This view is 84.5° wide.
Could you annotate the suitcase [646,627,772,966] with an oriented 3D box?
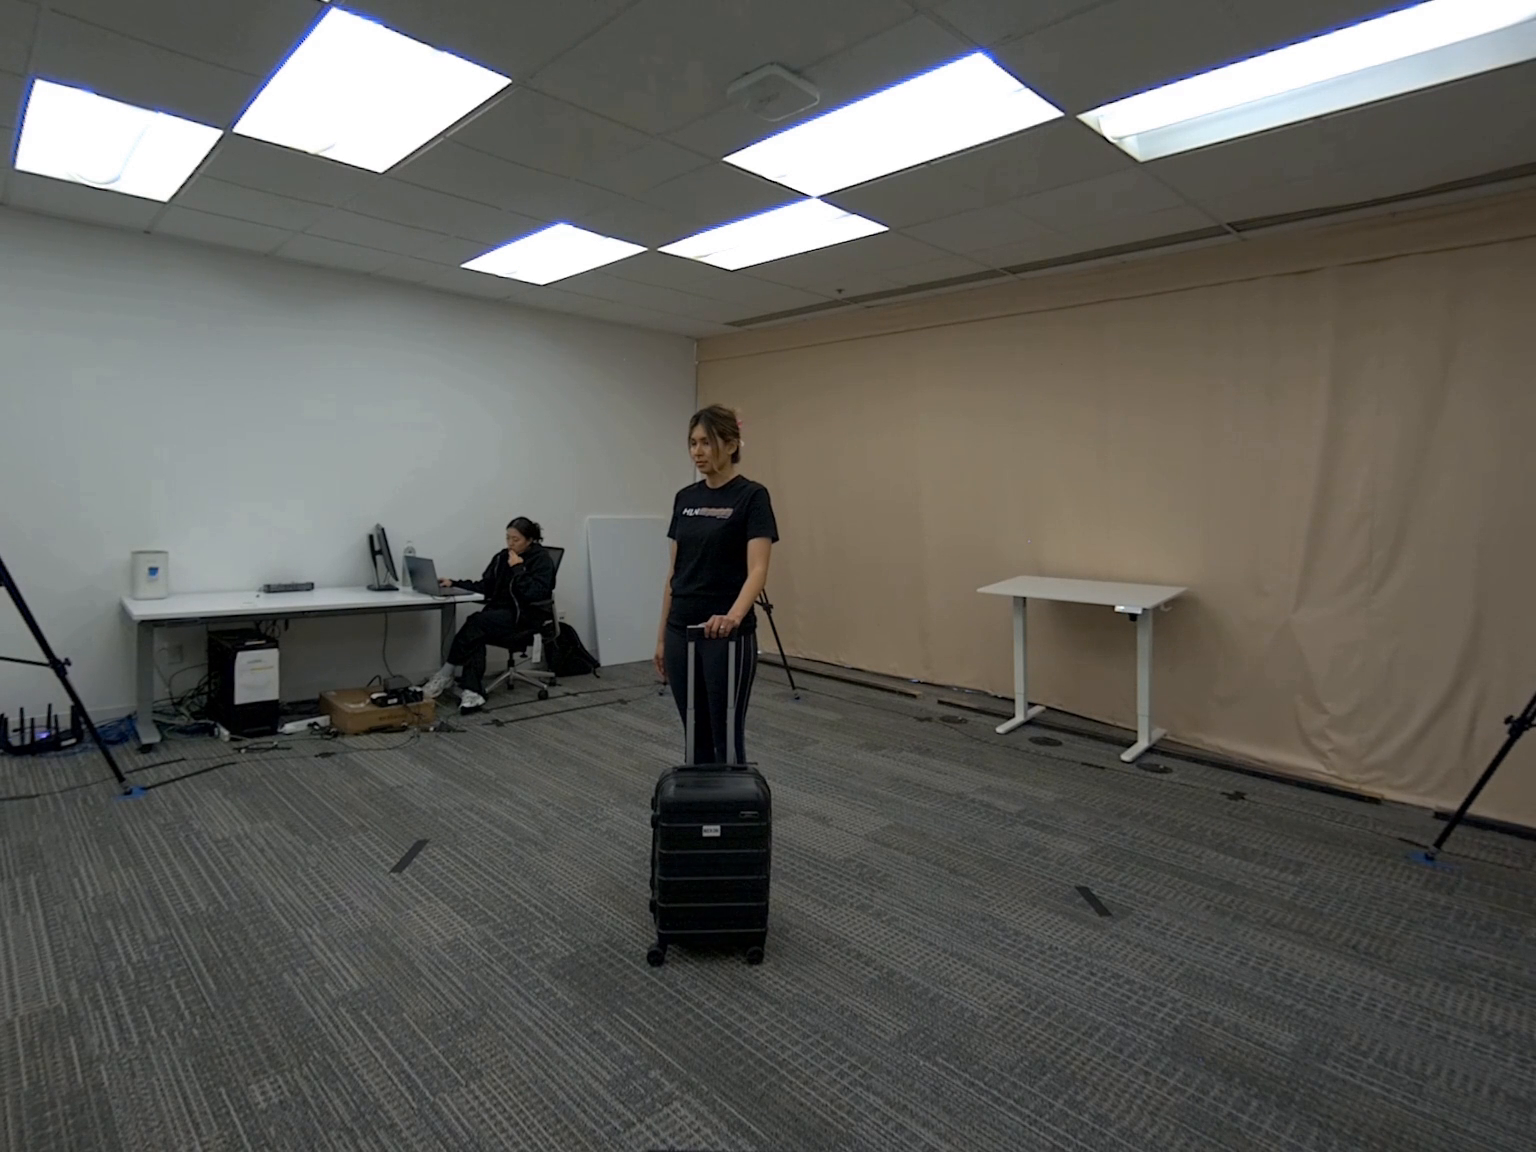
[{"bbox_3d":[-0.176,0.676,2.588,0.383,0.974,0.259,1,7,-4],"label":"suitcase"}]
